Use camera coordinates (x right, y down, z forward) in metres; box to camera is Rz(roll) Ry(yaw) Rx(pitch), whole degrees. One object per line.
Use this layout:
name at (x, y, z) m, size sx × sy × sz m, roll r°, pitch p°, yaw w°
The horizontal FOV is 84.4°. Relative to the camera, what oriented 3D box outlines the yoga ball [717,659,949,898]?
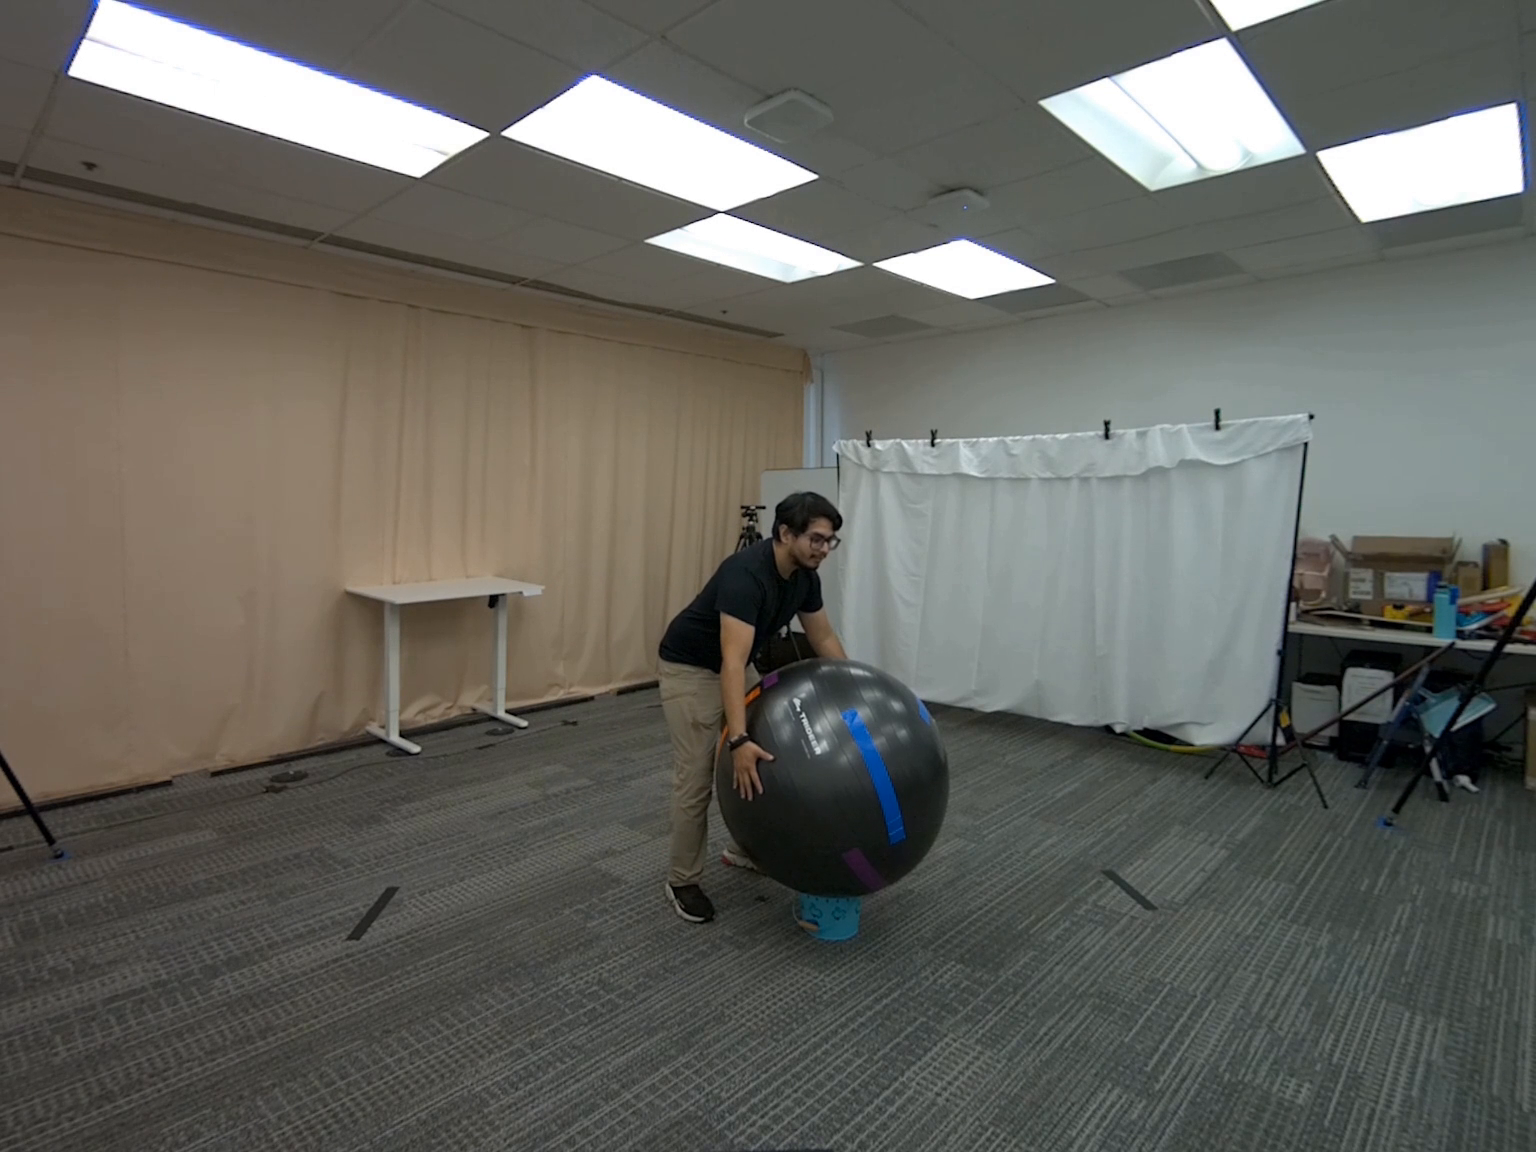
yoga ball at (0.212, 0.656, 2.771) m, size 0.757 × 0.756 × 0.761 m, roll 0°, pitch 4°, yaw -2°
